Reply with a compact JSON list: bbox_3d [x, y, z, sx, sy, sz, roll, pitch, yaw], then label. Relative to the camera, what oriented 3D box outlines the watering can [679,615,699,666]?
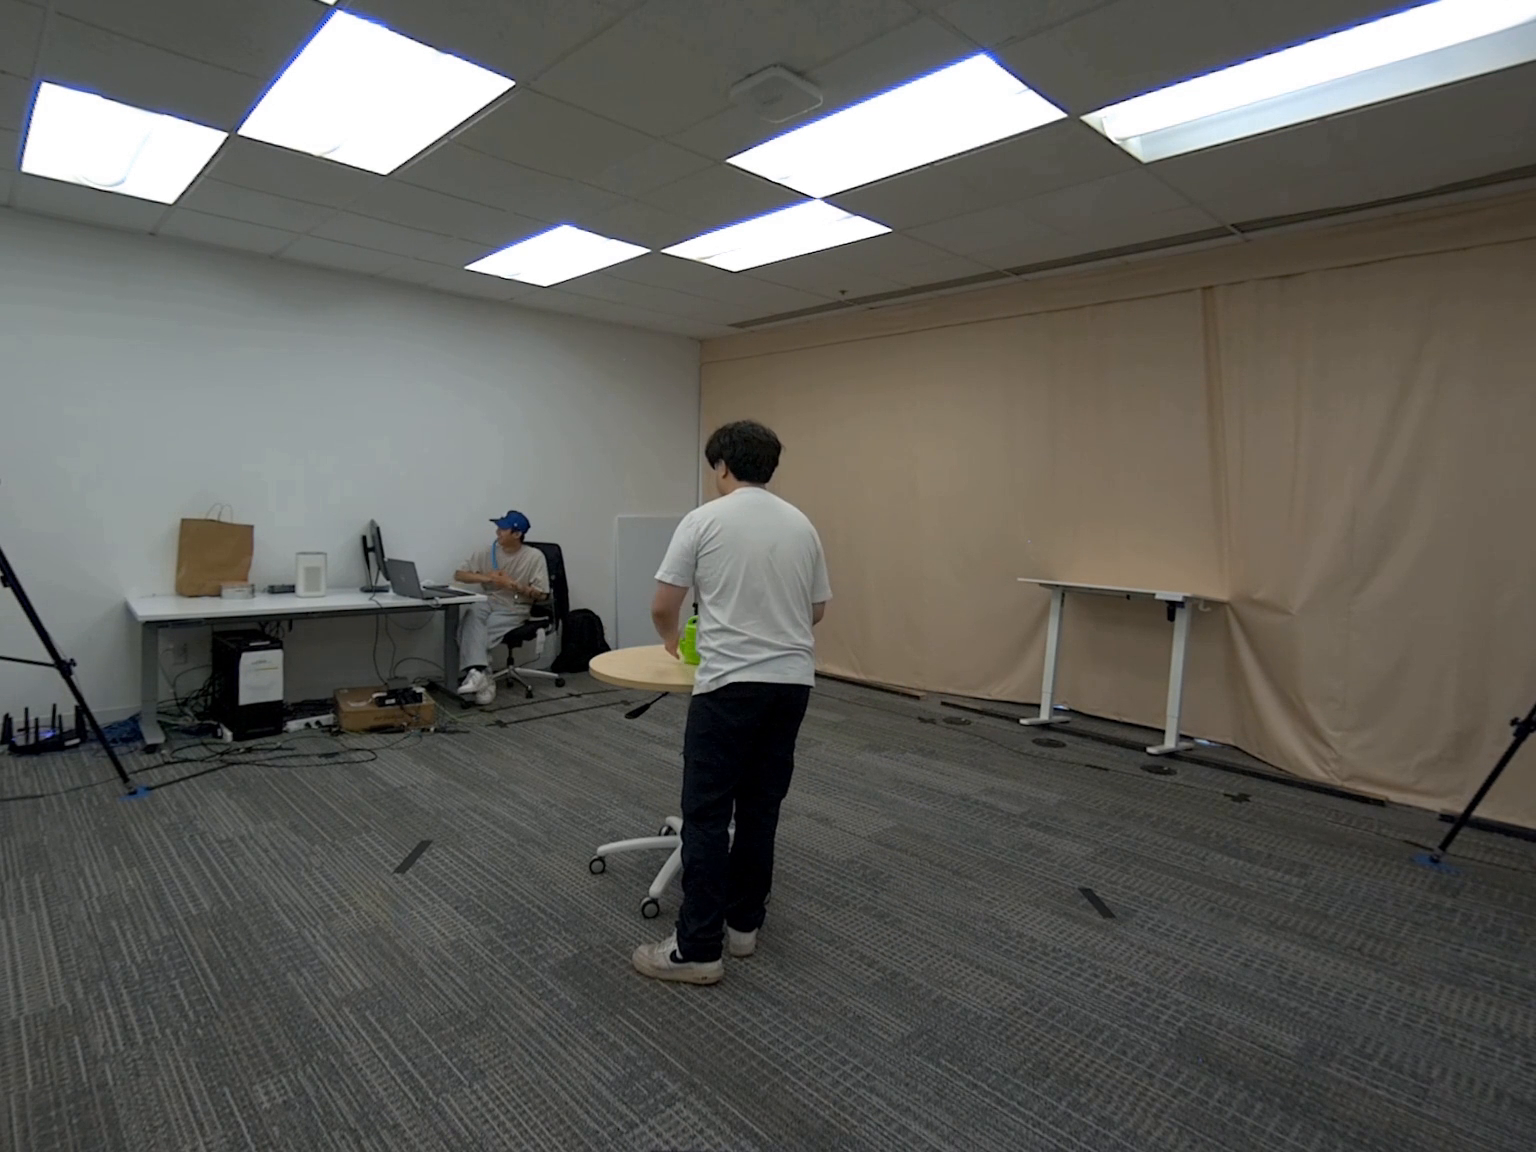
[{"bbox_3d":[-0.286,0.234,3.080,0.285,0.176,0.096,6,4,35],"label":"watering can"}]
